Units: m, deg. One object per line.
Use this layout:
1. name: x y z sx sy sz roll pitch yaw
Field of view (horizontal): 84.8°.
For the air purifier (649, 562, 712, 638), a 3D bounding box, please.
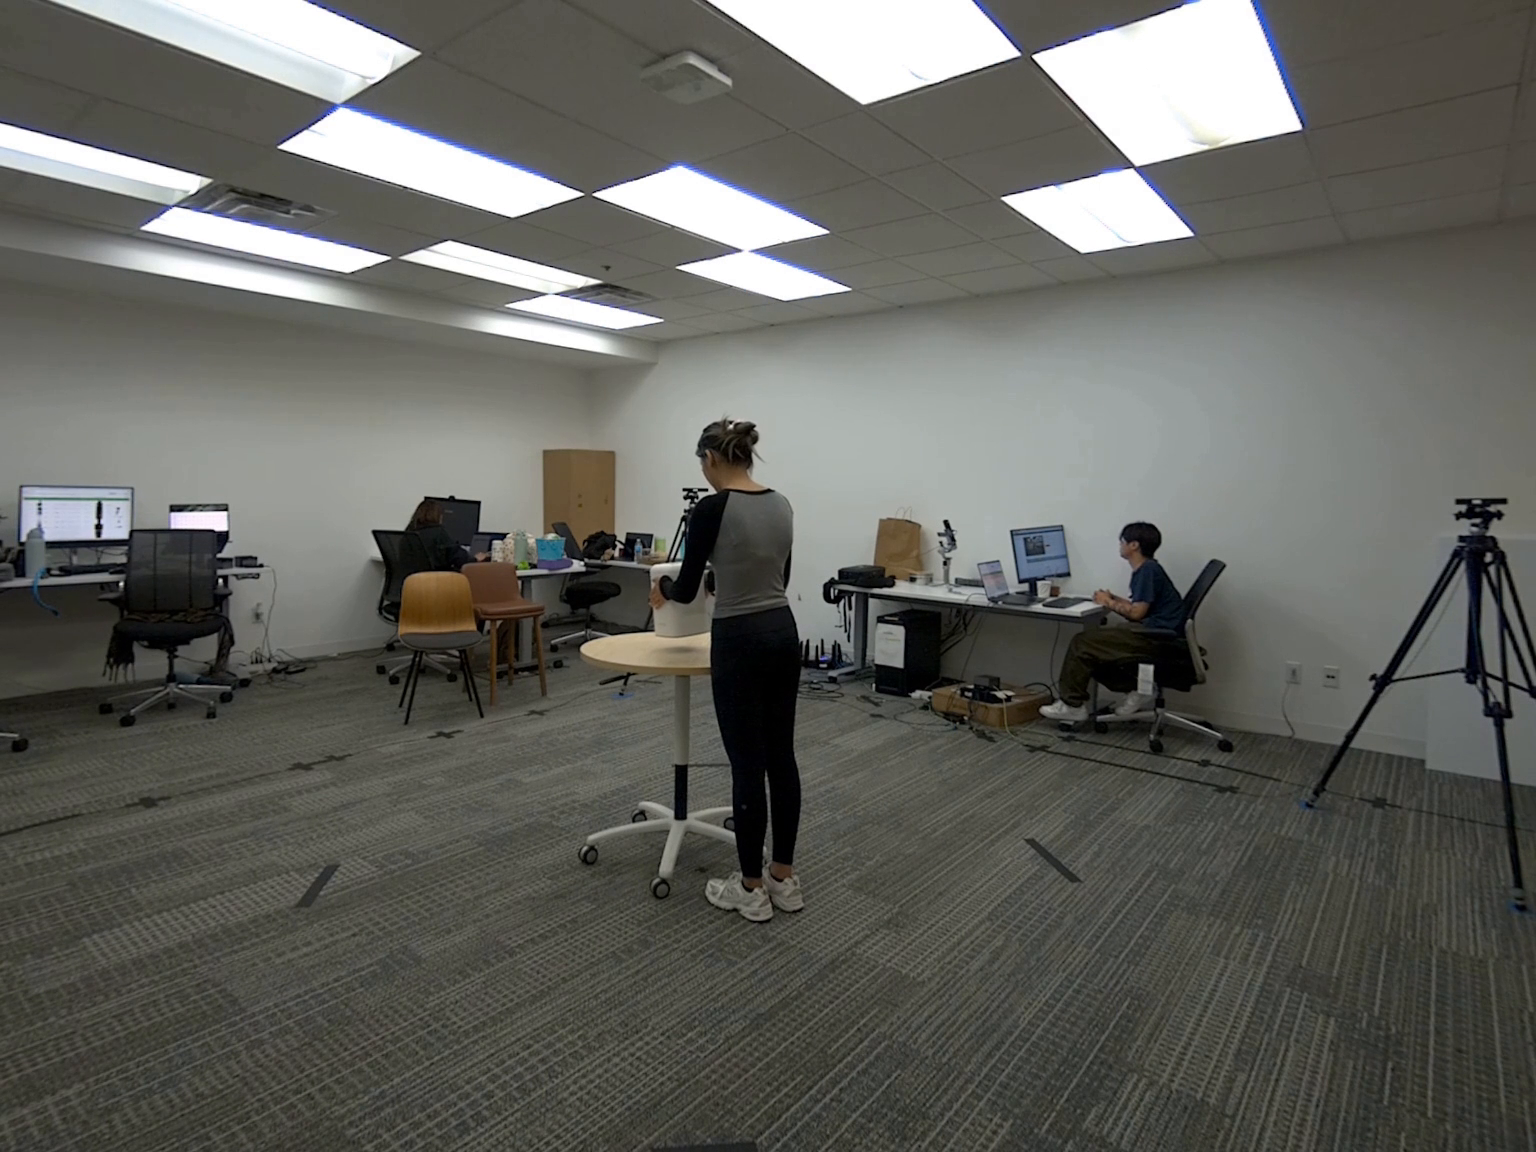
1. air purifier: -0.342 0.082 3.150 0.176 0.265 0.167 -3 3 43
